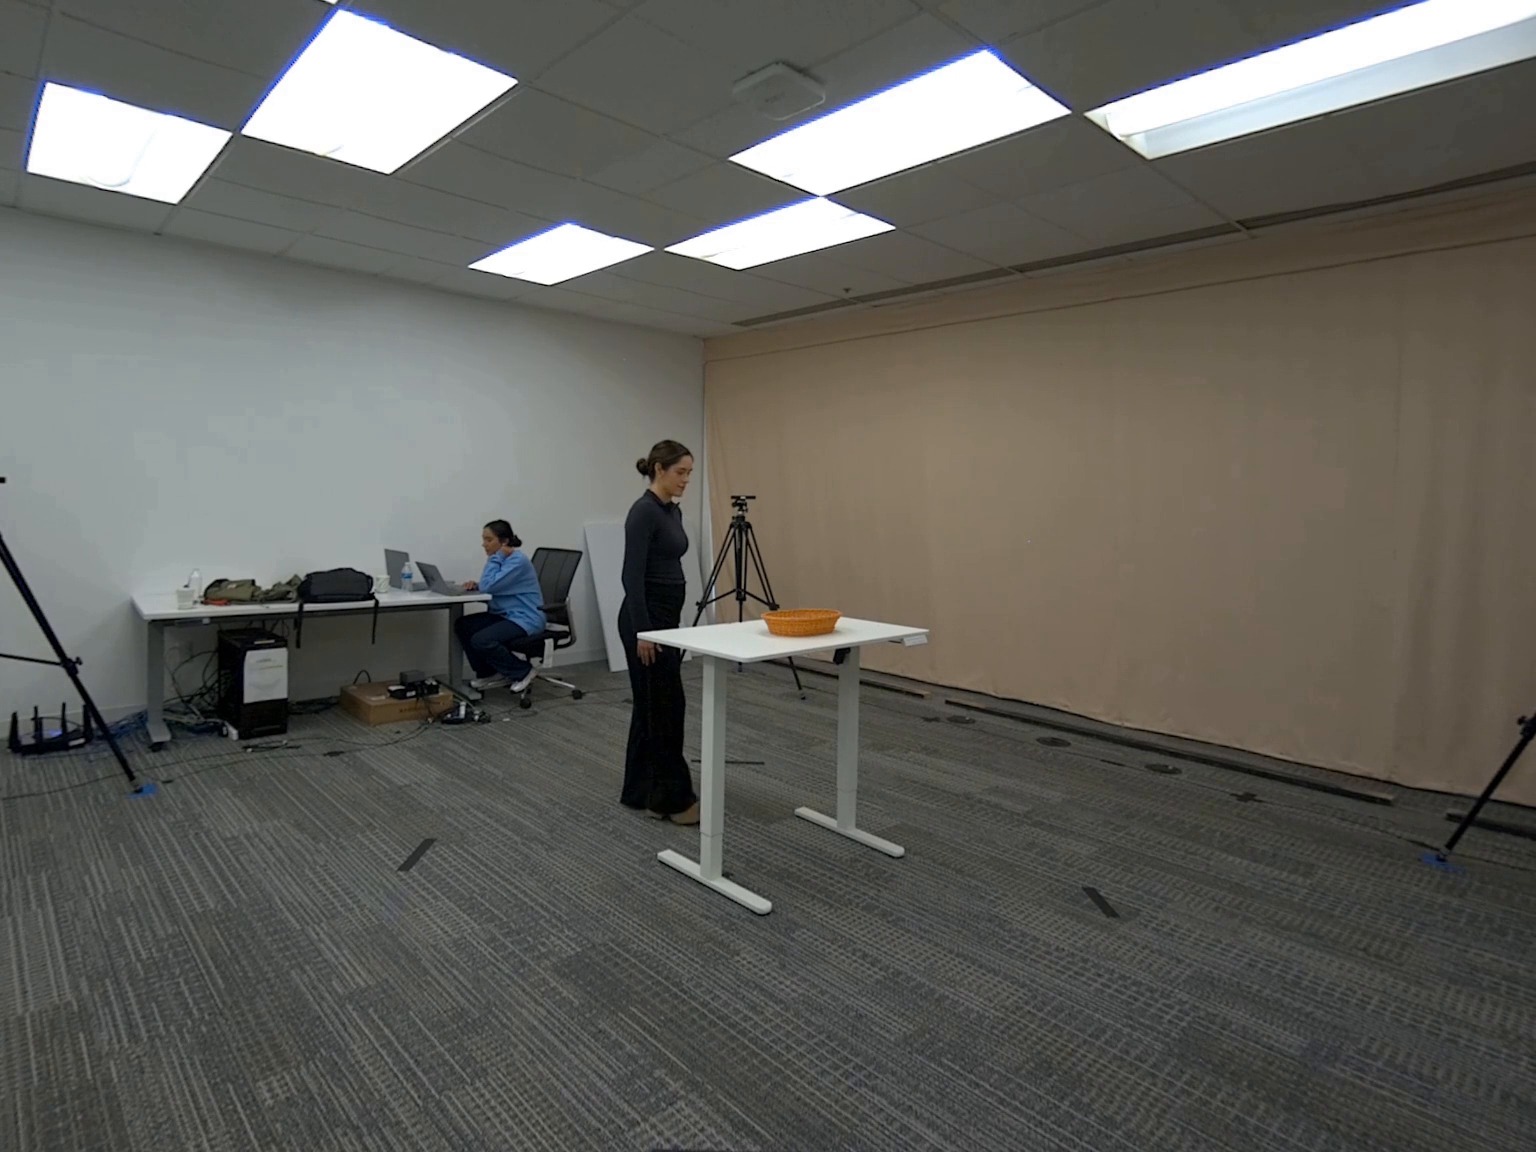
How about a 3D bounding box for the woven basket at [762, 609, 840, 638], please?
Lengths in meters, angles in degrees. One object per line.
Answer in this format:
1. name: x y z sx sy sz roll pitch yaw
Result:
1. woven basket: 0.124 0.187 3.236 0.342 0.073 0.259 -4 7 -44
